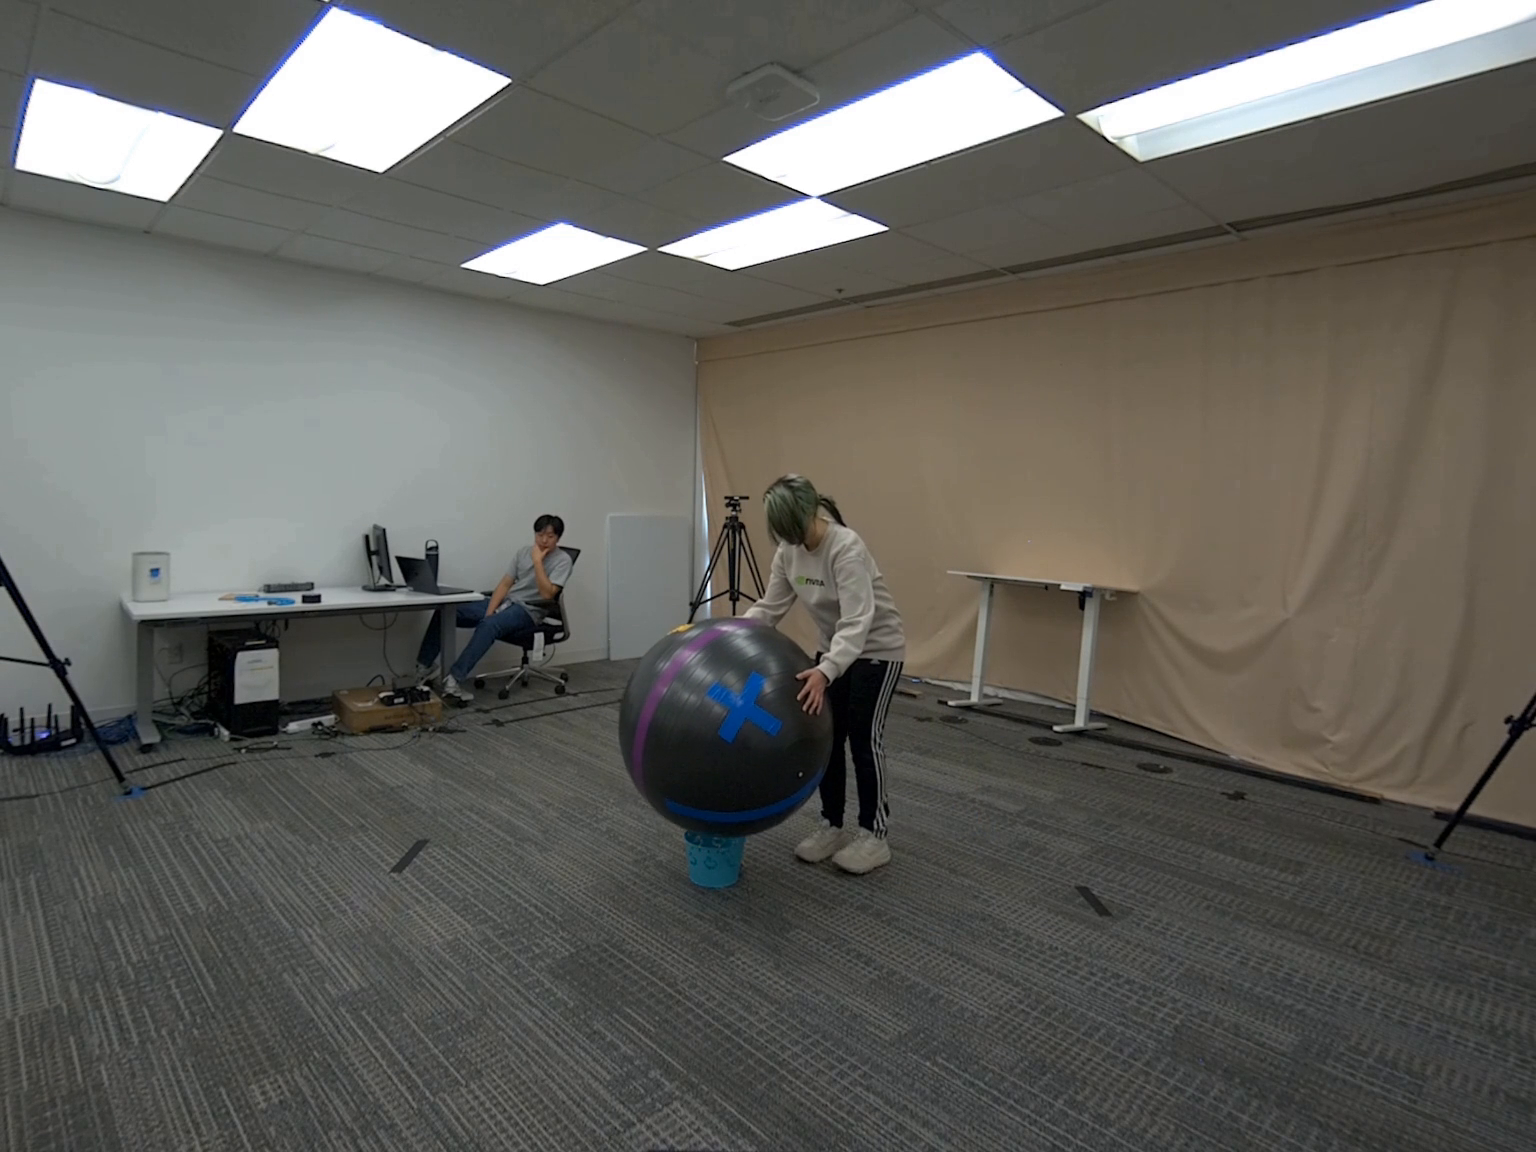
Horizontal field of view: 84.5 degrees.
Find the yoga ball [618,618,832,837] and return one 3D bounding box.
[{"bbox_3d":[-0.153,0.531,2.973,0.757,0.756,0.761,1,4,-1],"label":"yoga ball"}]
